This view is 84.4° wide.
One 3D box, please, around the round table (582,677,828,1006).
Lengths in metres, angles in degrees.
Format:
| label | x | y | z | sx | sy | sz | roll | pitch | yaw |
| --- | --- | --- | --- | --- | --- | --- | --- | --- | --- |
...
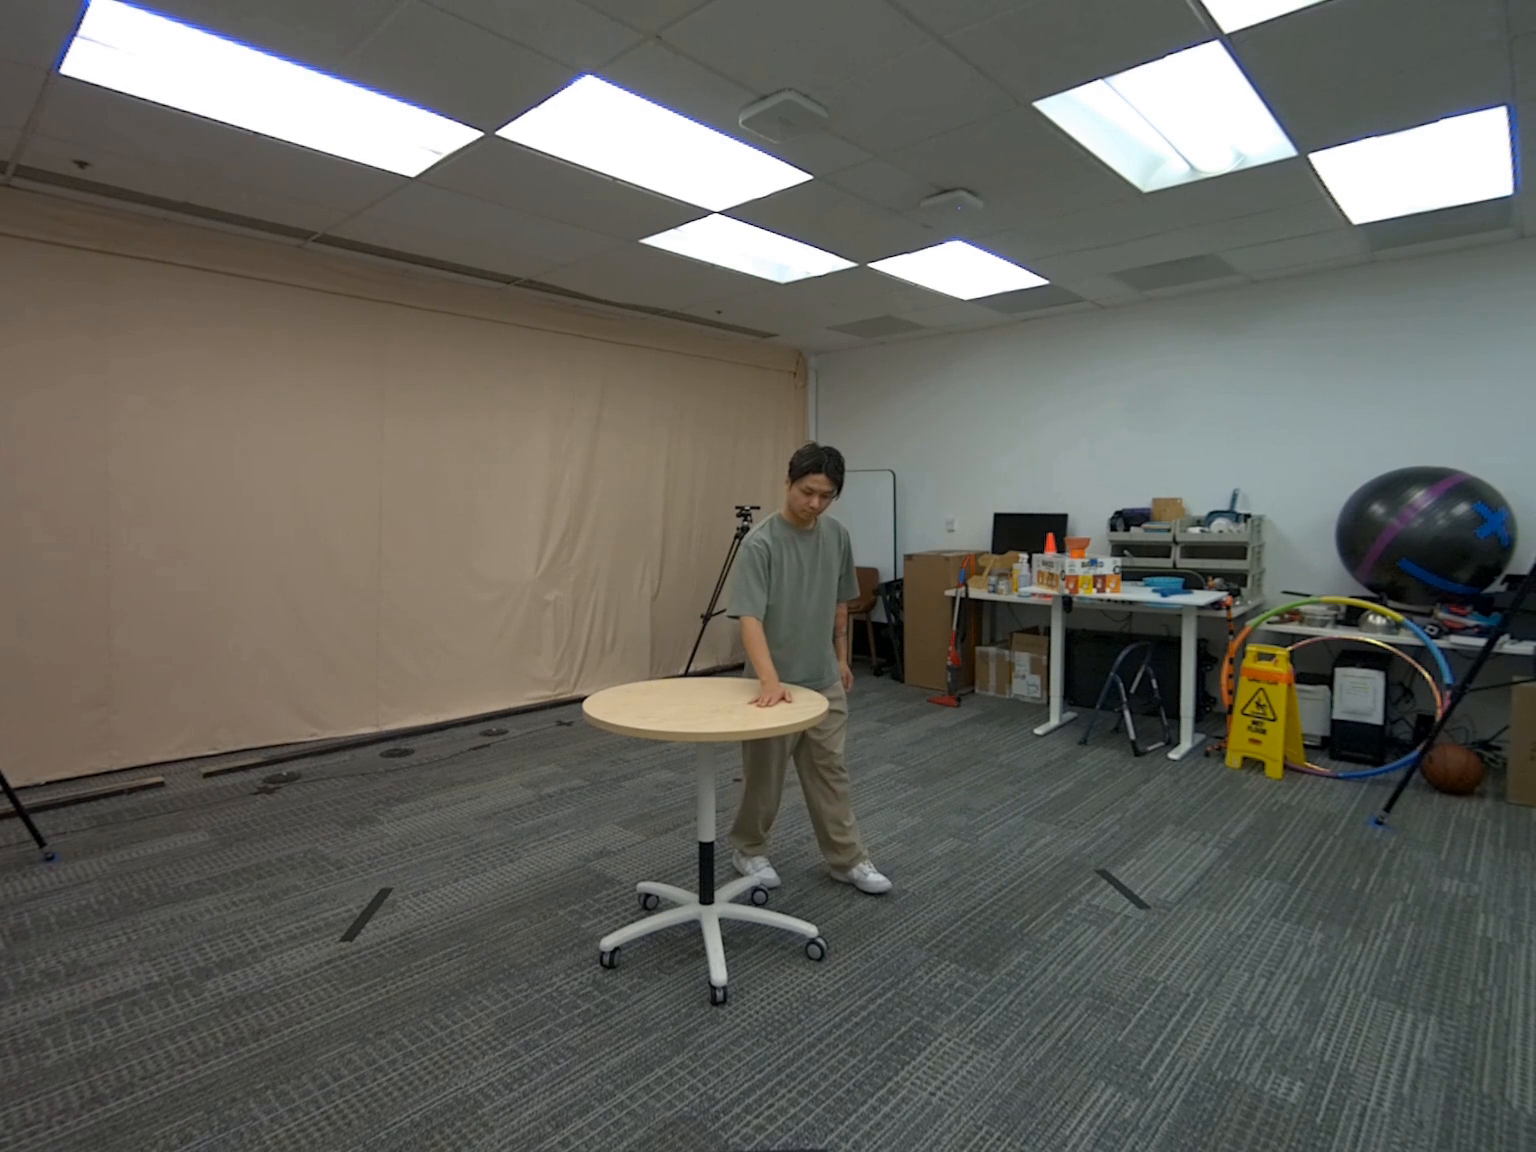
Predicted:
| label | x | y | z | sx | sy | sz | roll | pitch | yaw |
| --- | --- | --- | --- | --- | --- | --- | --- | --- | --- |
| round table | -0.194 | 0.787 | 2.644 | 0.763 | 0.792 | 0.766 | 0 | 3 | -2 |
